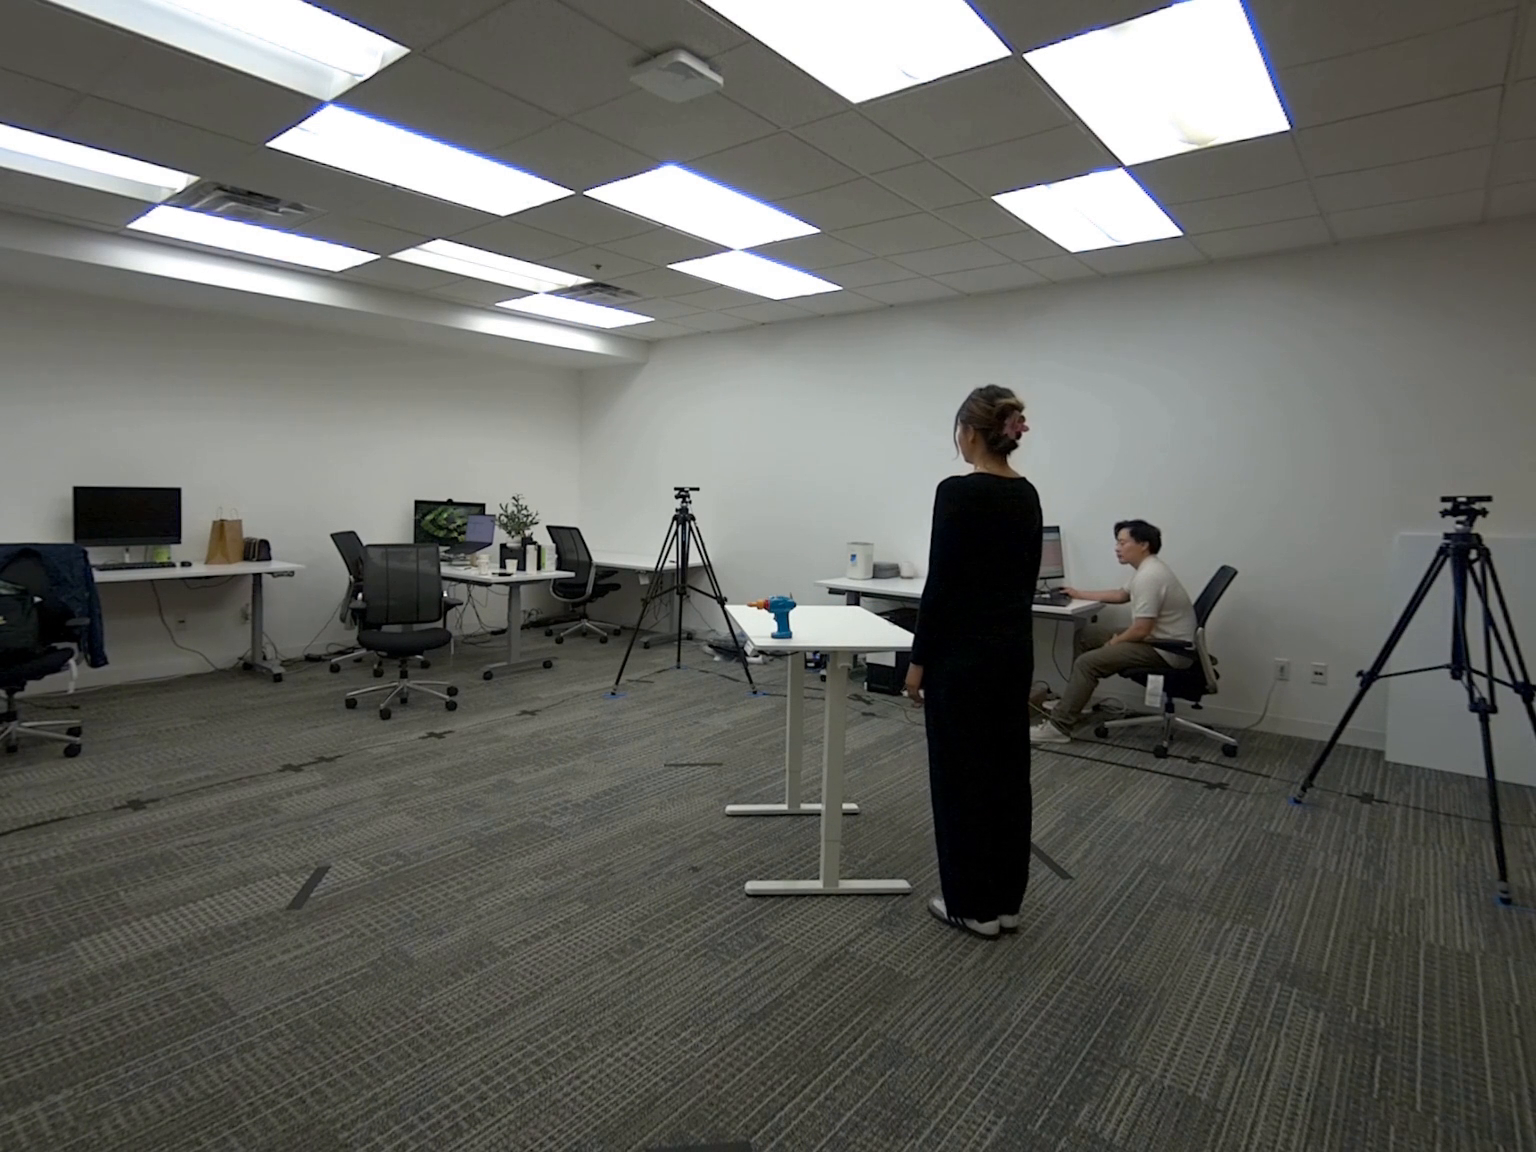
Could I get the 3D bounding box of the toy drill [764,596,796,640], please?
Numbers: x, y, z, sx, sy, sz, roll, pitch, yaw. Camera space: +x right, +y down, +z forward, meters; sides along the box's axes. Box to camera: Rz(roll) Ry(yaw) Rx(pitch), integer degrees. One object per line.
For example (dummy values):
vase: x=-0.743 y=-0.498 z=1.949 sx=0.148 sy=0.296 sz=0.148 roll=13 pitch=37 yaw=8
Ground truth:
toy drill: x=-0.001 y=0.135 z=2.895 sx=0.169 sy=0.146 sz=0.061 roll=6 pitch=1 yaw=-4
